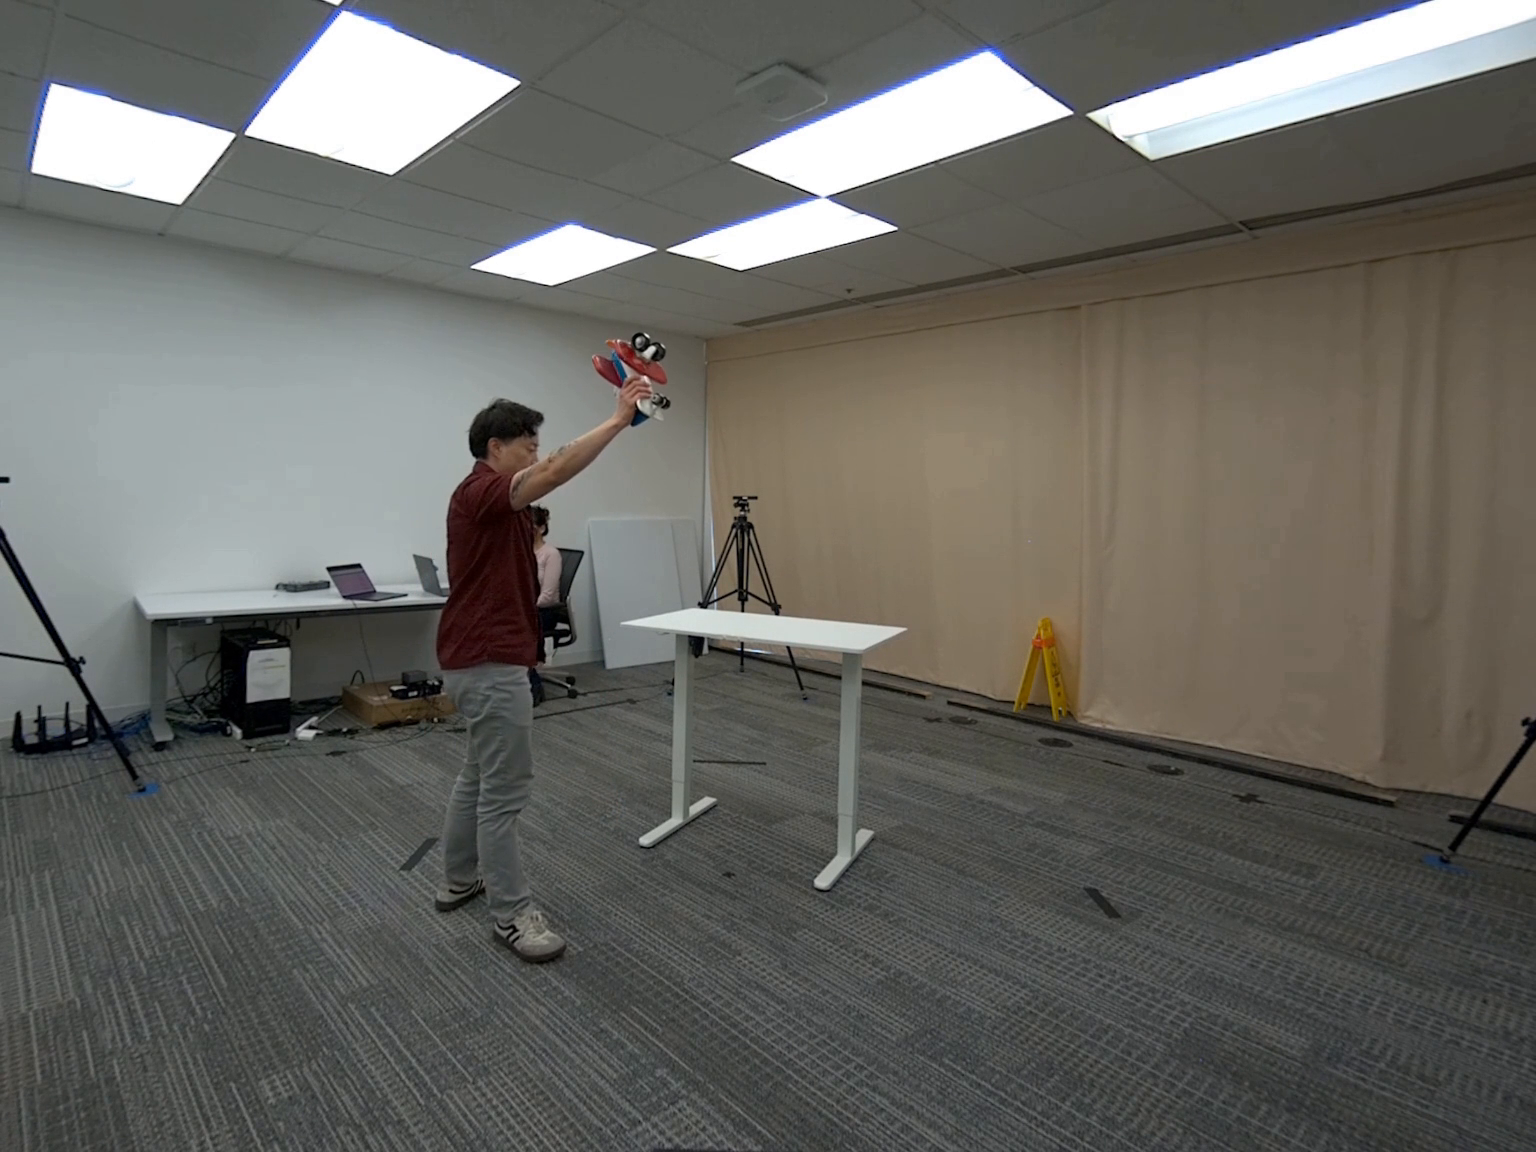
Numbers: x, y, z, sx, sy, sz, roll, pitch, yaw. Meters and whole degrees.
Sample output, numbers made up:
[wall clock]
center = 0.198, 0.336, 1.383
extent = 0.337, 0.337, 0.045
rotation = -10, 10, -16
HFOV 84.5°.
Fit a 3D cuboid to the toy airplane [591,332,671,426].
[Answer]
[toy airplane]
center = -0.386, -0.574, 2.418
extent = 0.158, 0.264, 0.243
rotation = -15, -41, 22
